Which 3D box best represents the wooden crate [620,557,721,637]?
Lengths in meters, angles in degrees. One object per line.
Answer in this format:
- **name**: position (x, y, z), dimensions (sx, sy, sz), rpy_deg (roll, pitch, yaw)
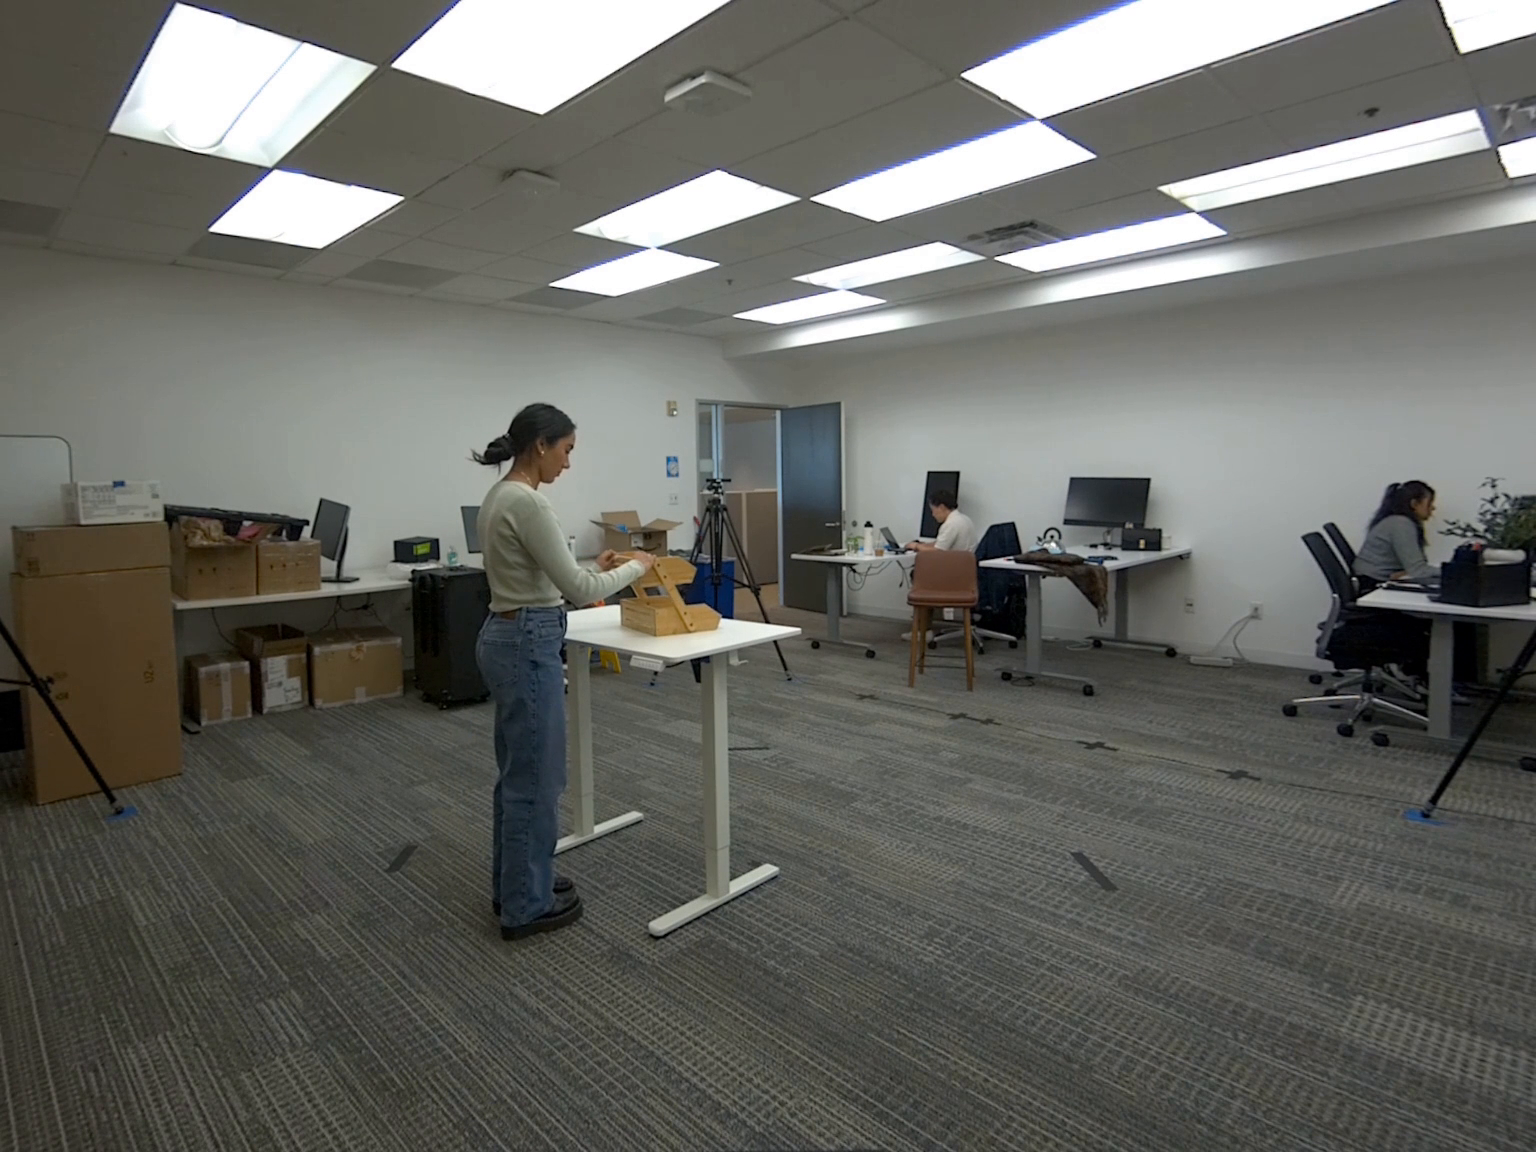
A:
- **wooden crate**: position (-0.368, 0.050, 2.981), dimensions (0.295, 0.272, 0.333), rpy_deg (-4, 5, -31)
